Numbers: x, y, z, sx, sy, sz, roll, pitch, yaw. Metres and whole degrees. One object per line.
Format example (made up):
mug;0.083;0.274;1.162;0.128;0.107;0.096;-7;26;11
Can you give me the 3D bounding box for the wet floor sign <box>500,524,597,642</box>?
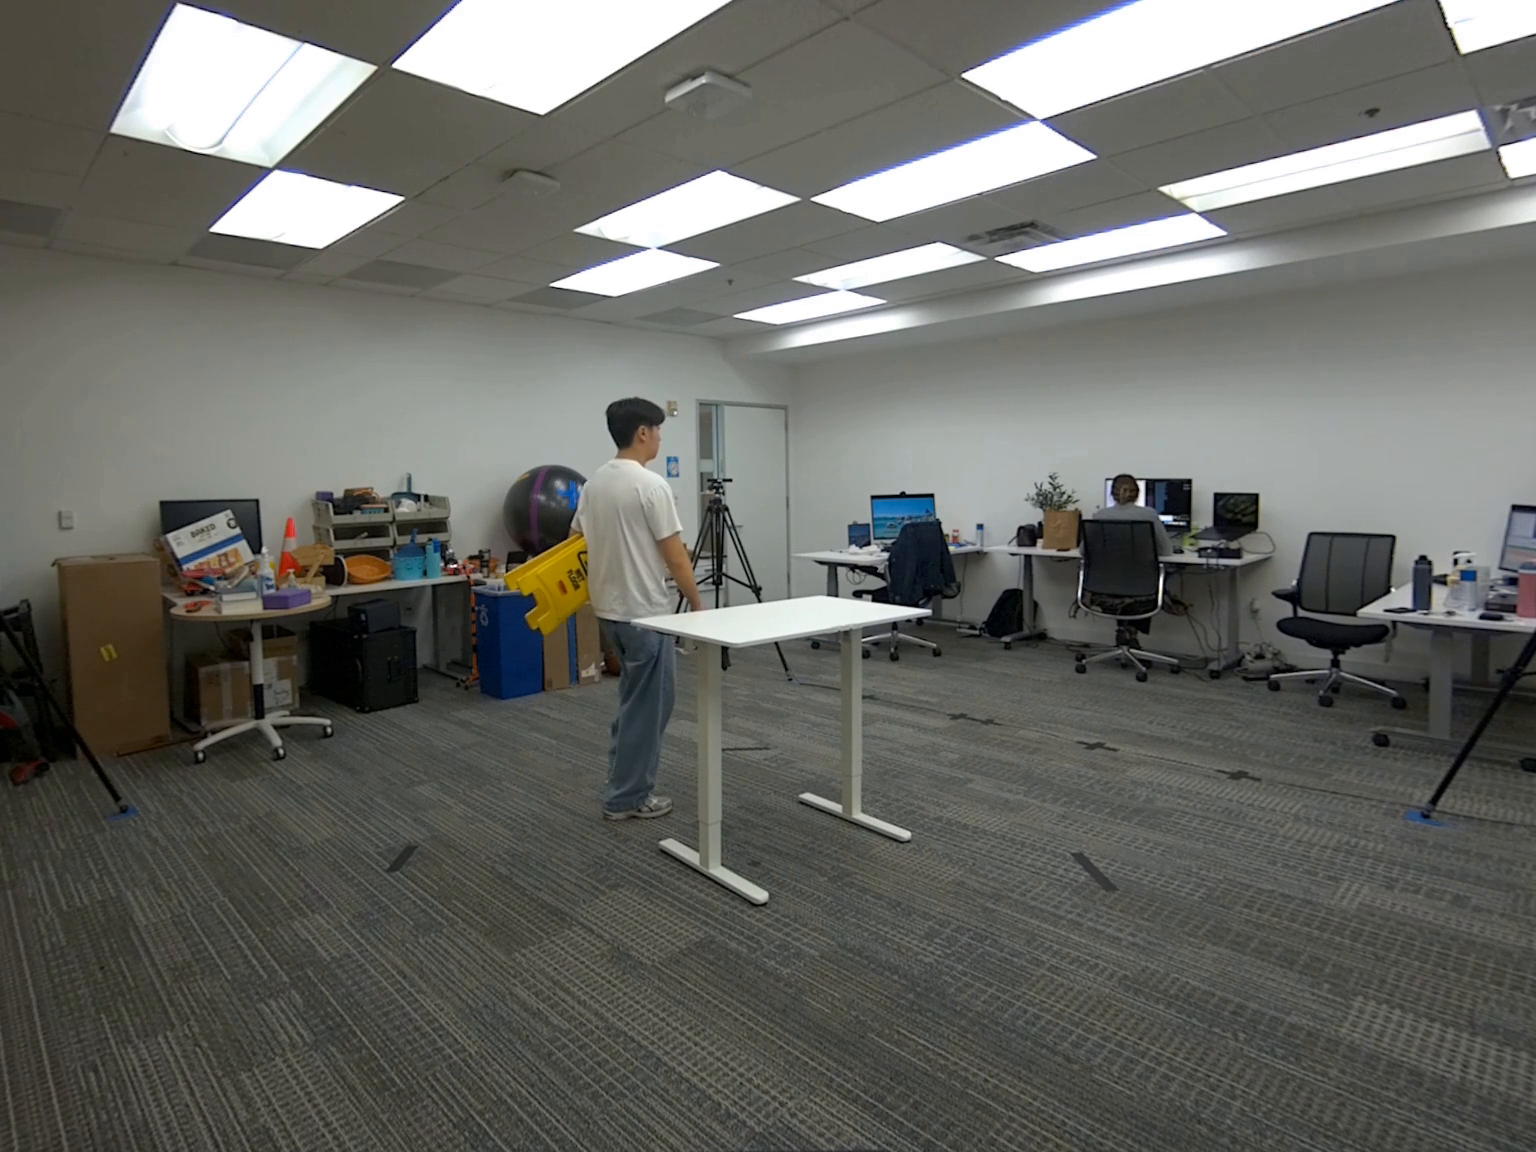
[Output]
wet floor sign;-0.751;-0.053;3.644;0.299;0.274;0.643;10;41;46
